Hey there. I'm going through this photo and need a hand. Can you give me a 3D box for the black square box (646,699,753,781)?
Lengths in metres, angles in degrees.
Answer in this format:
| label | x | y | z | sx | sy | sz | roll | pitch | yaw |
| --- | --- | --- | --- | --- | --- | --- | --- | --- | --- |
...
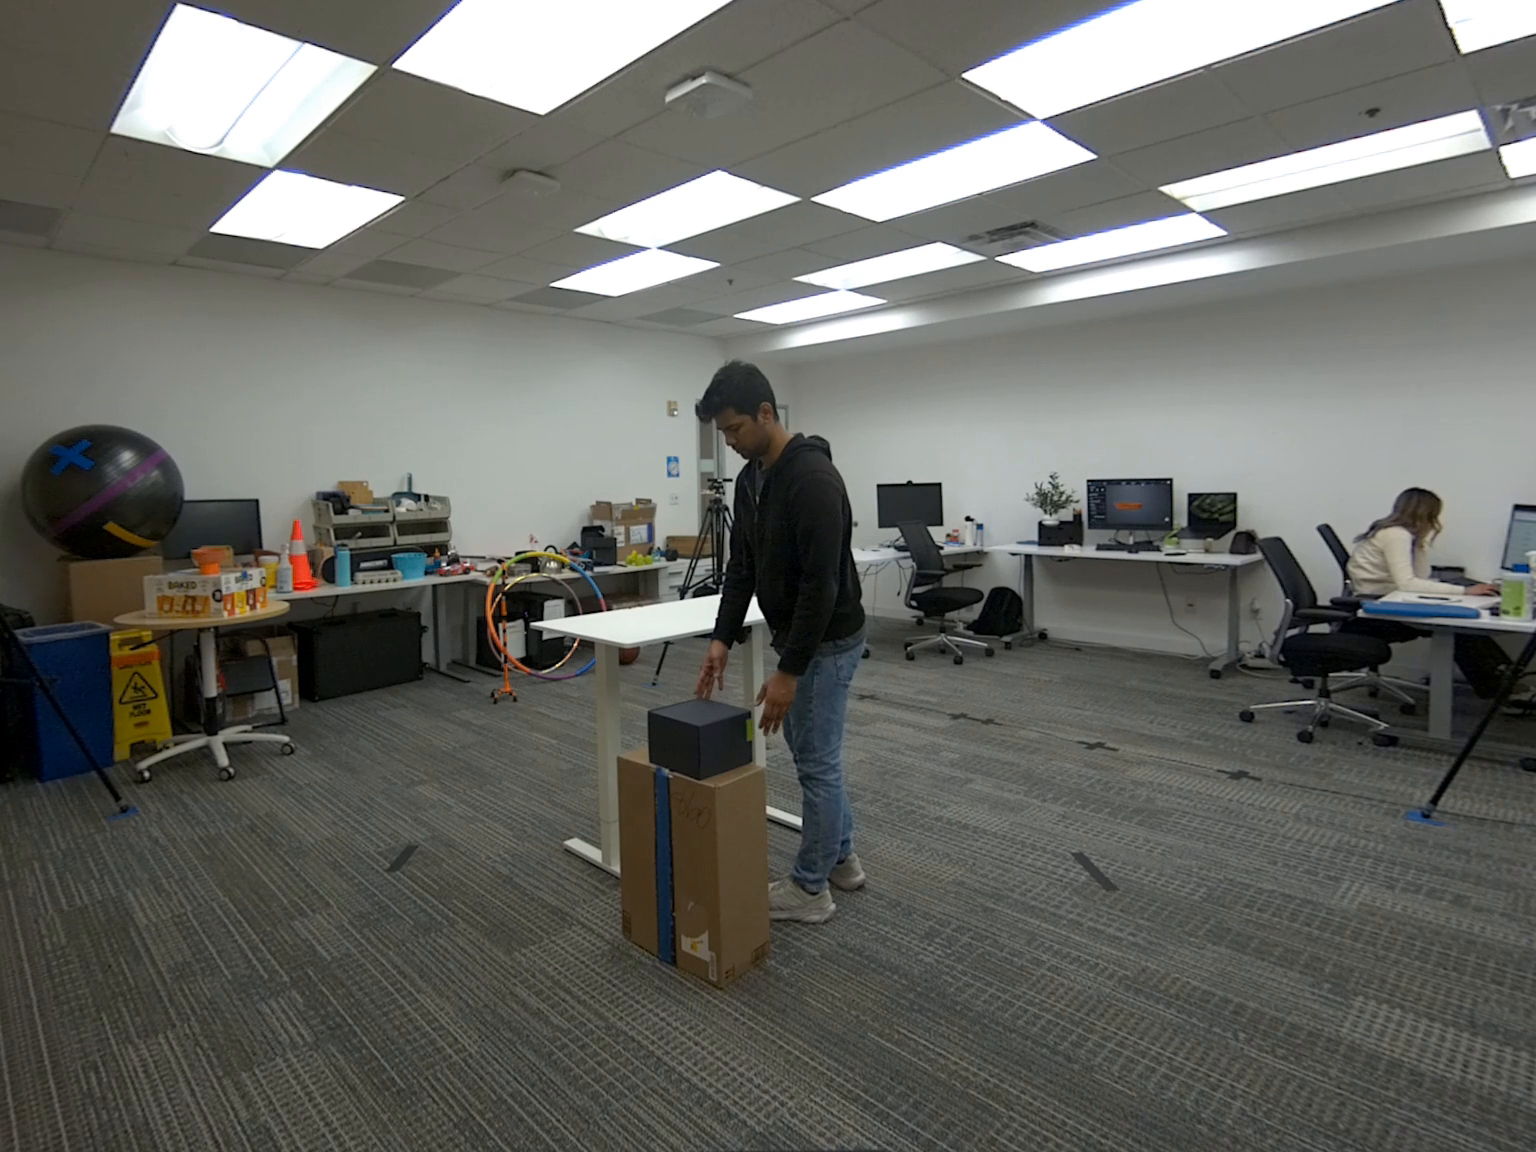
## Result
| label | x | y | z | sx | sy | sz | roll | pitch | yaw |
| --- | --- | --- | --- | --- | --- | --- | --- | --- | --- |
| black square box | -0.202 | 0.474 | 2.509 | 0.235 | 0.155 | 0.211 | 4 | 7 | 44 |
